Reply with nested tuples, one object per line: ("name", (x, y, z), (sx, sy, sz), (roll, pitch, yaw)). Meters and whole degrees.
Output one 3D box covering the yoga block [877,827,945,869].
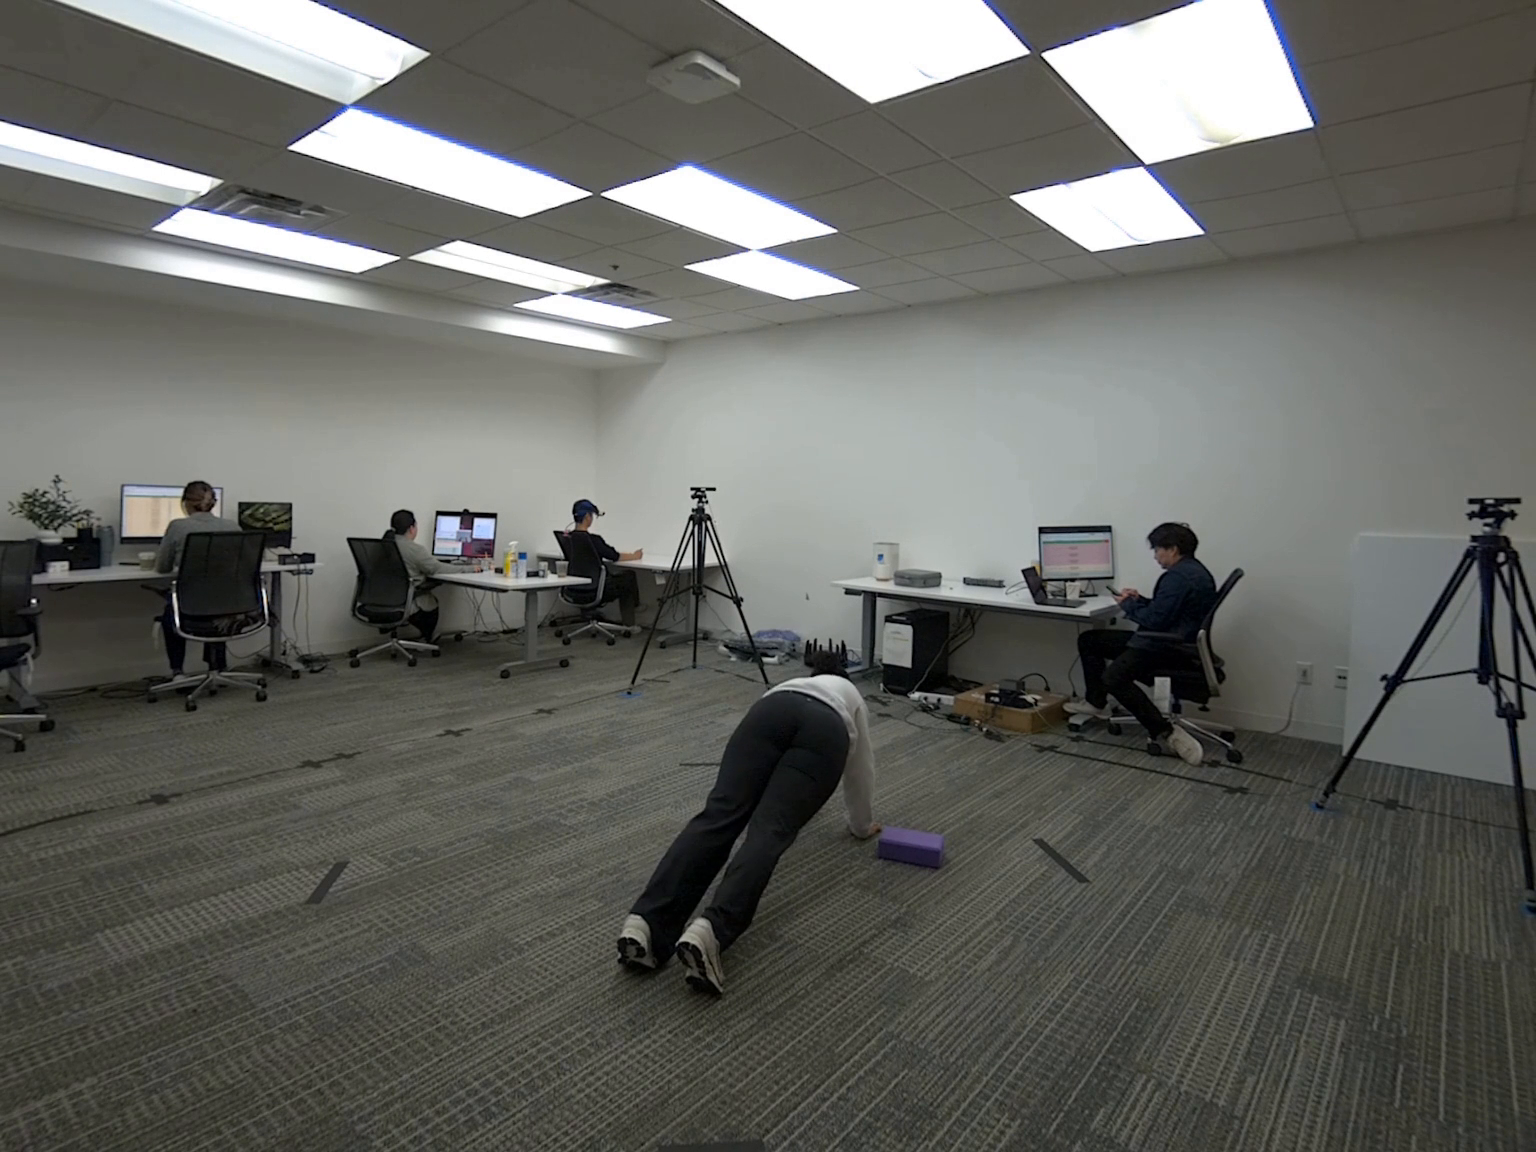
("yoga block", (0.541, 1.029, 3.254), (0.234, 0.076, 0.146), (3, 4, 20))
